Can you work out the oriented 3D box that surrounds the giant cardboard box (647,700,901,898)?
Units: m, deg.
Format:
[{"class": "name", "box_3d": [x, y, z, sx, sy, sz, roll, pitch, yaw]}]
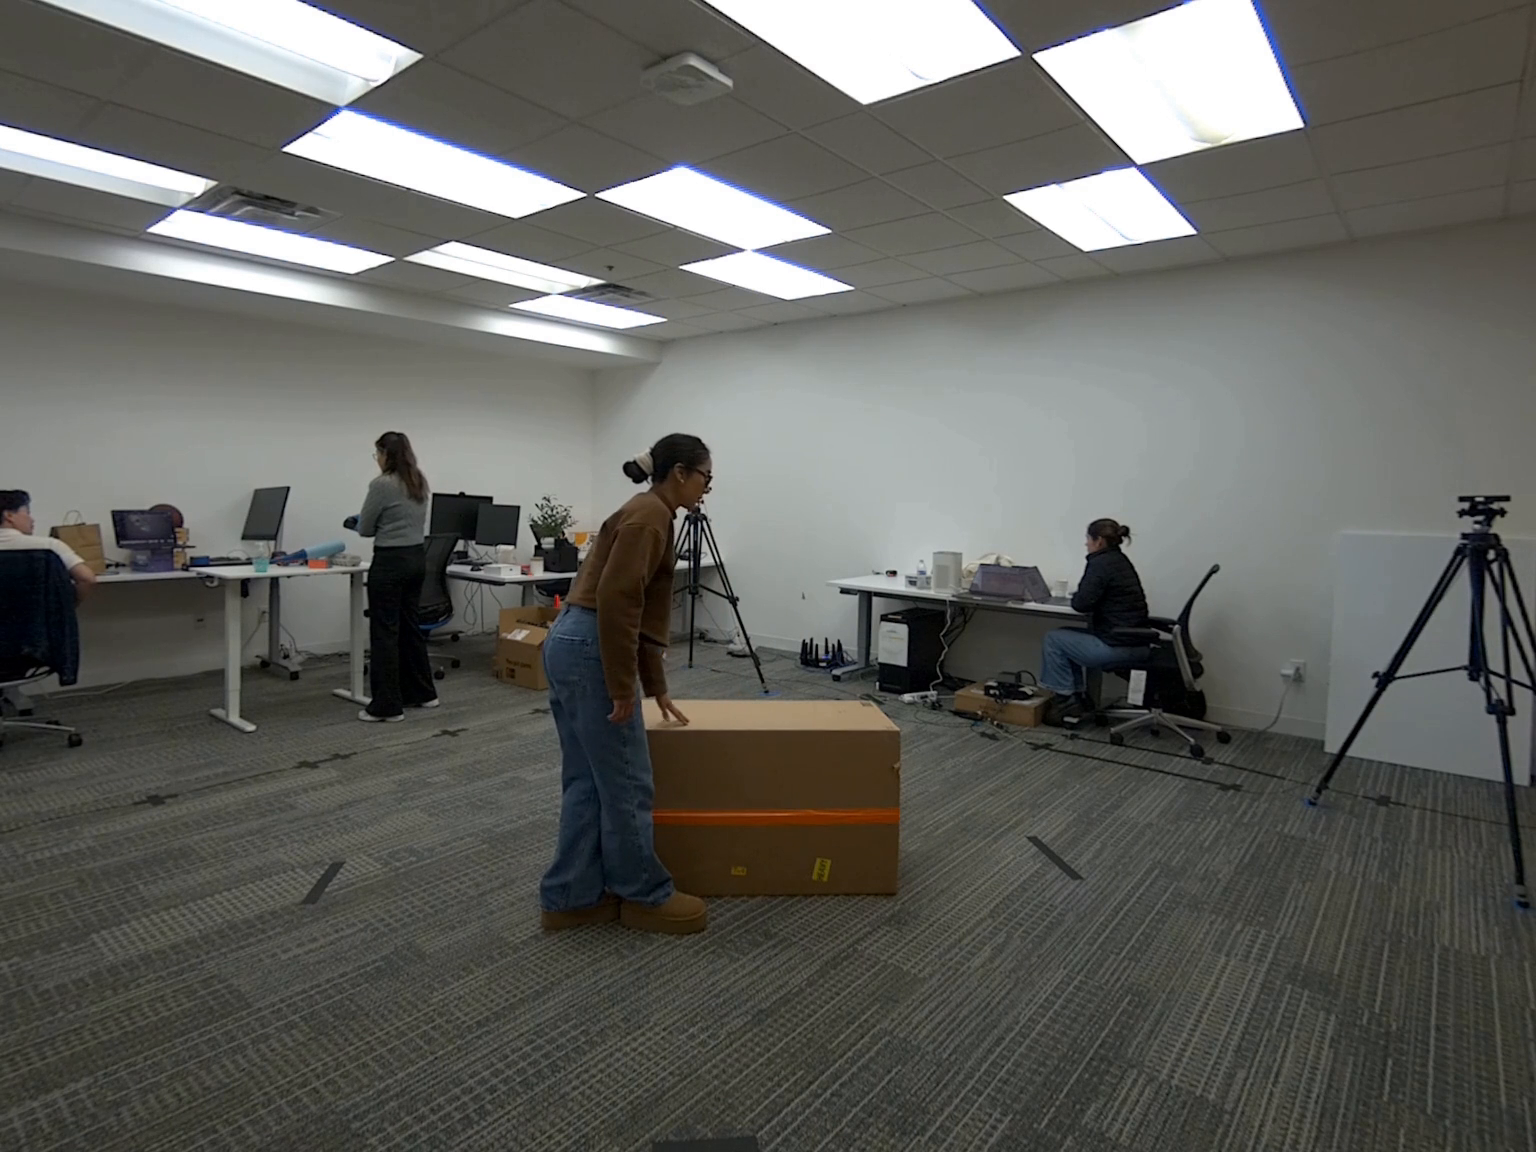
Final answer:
[{"class": "giant cardboard box", "box_3d": [-0.078, 0.783, 3.095, 1.023, 0.583, 0.450, 0, 3, -4]}]
